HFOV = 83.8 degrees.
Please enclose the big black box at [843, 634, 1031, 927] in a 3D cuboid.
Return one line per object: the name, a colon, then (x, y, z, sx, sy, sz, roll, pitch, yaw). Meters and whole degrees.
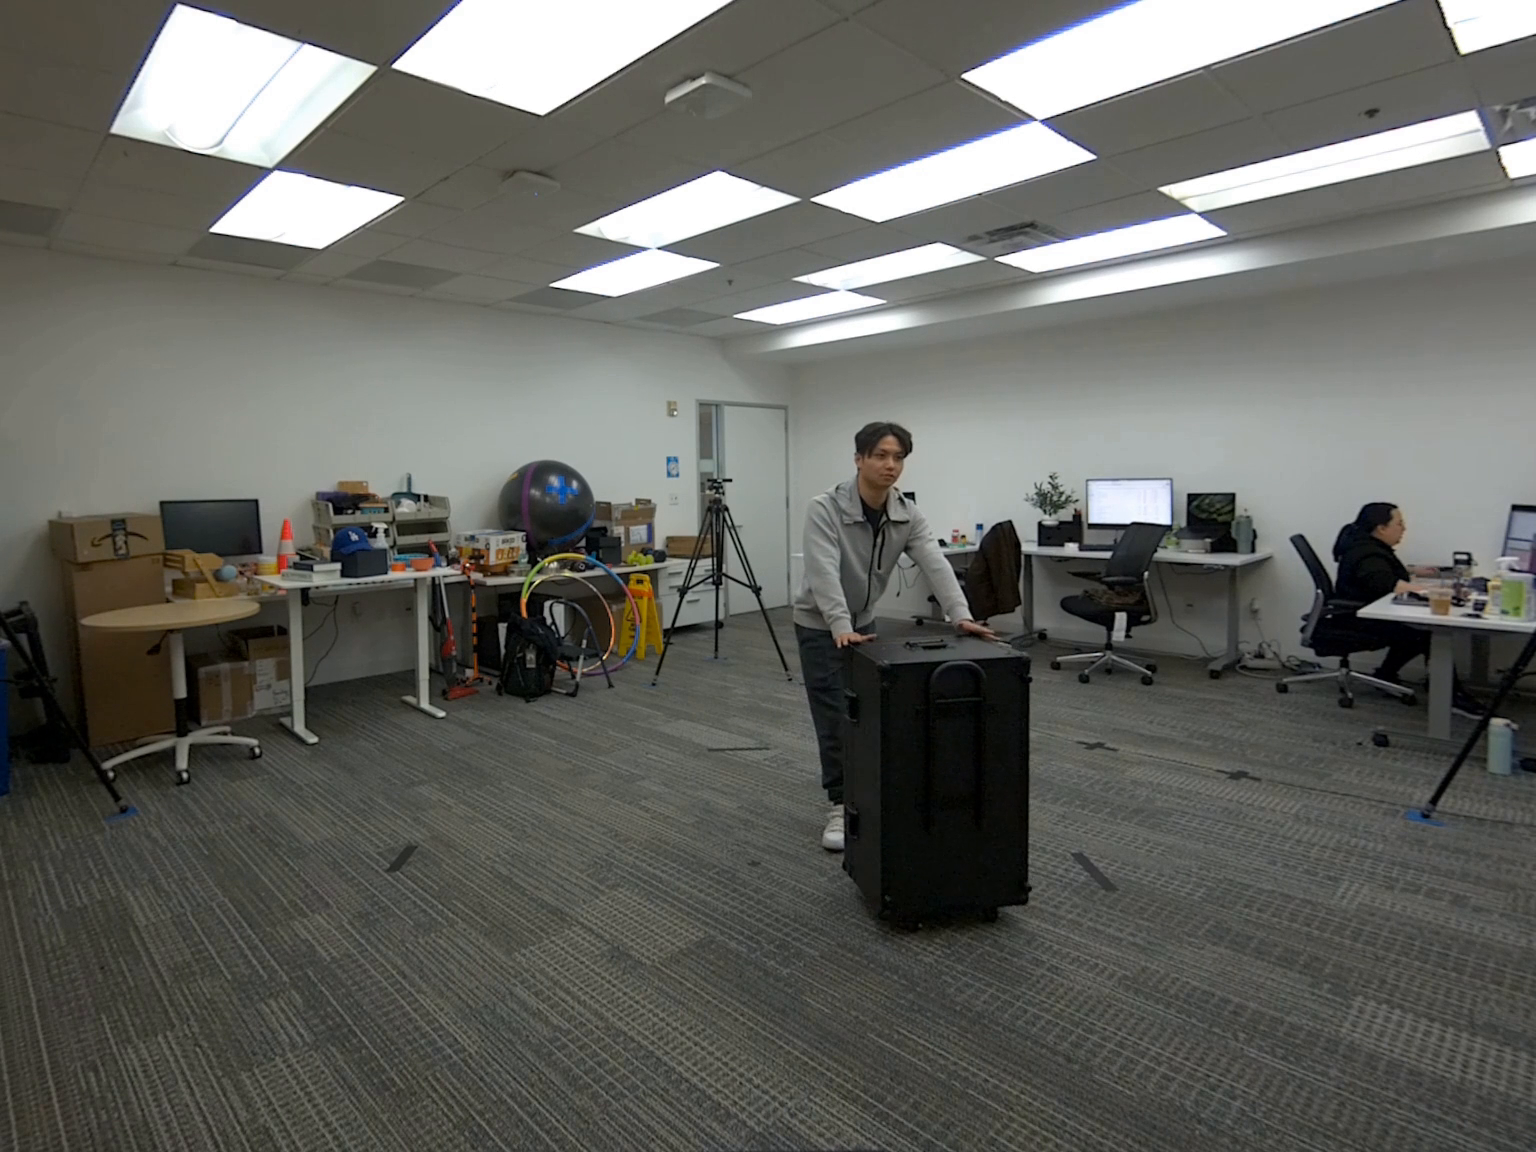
big black box: (0.535, 0.655, 2.736, 0.516, 0.857, 0.402, -1, 6, -11)
